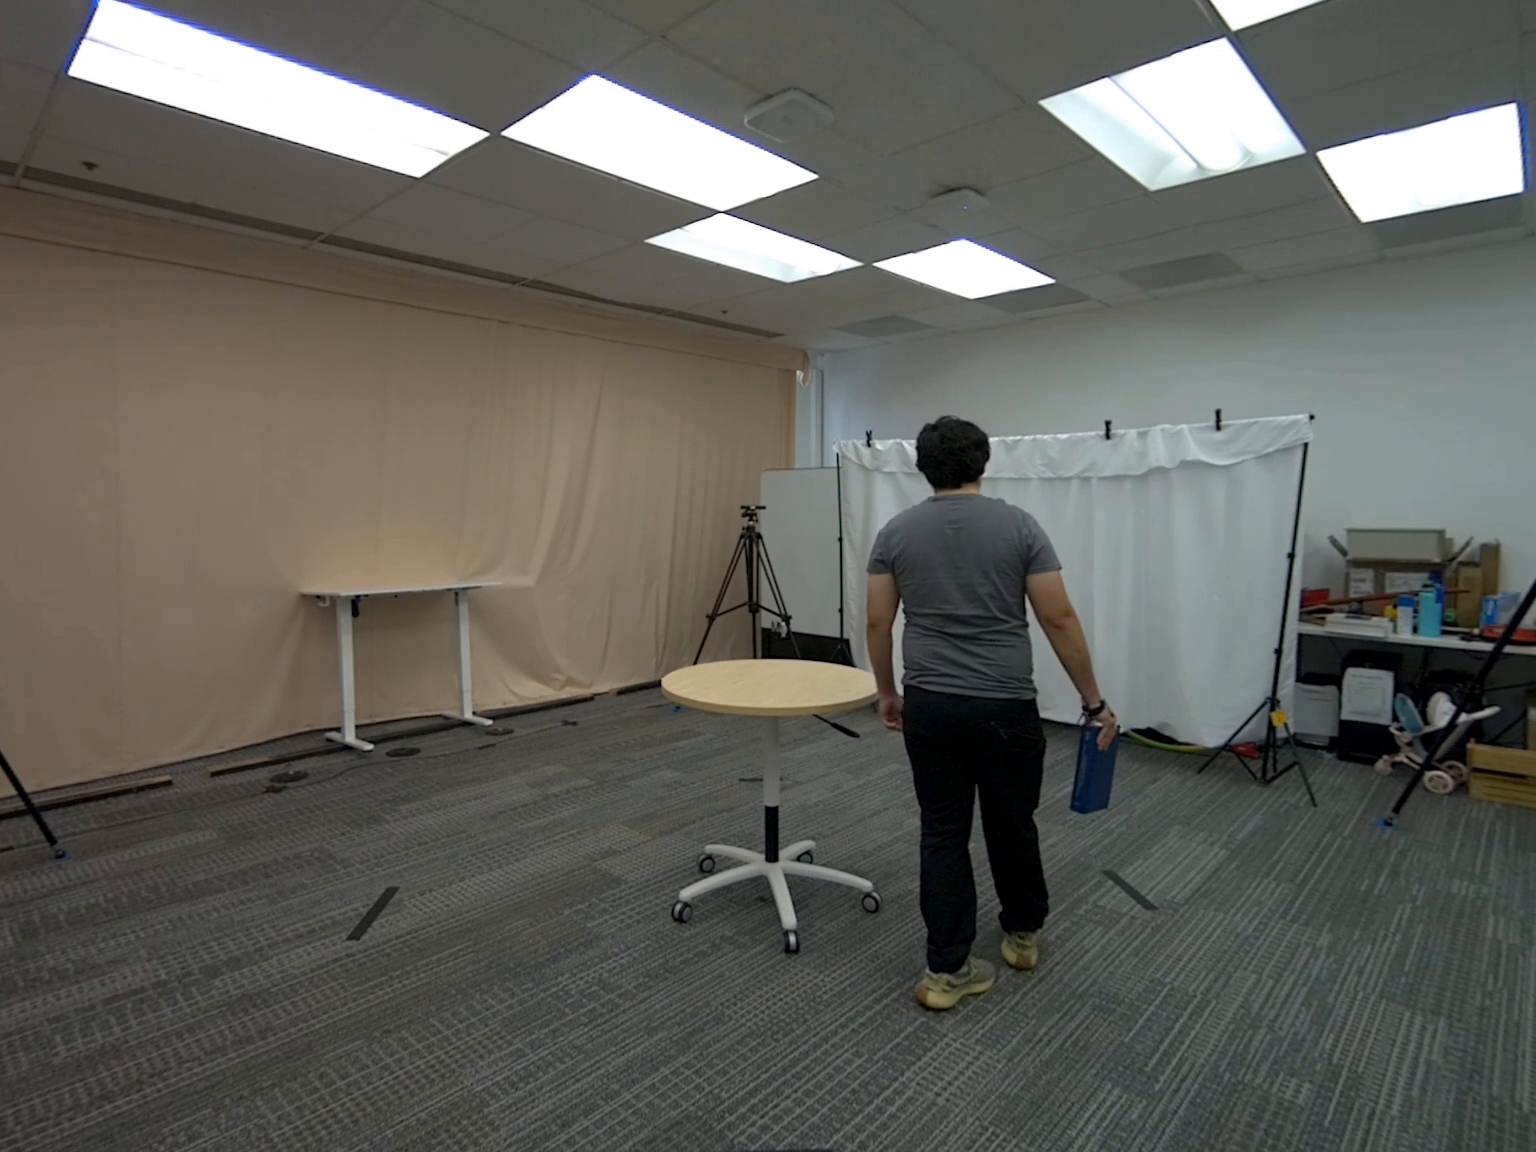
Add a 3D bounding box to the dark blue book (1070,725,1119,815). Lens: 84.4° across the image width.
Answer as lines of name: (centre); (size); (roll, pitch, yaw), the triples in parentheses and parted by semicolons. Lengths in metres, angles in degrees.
dark blue book: (0.922, 0.539, 2.381); (0.158, 0.245, 0.047); (6, 2, -44)
